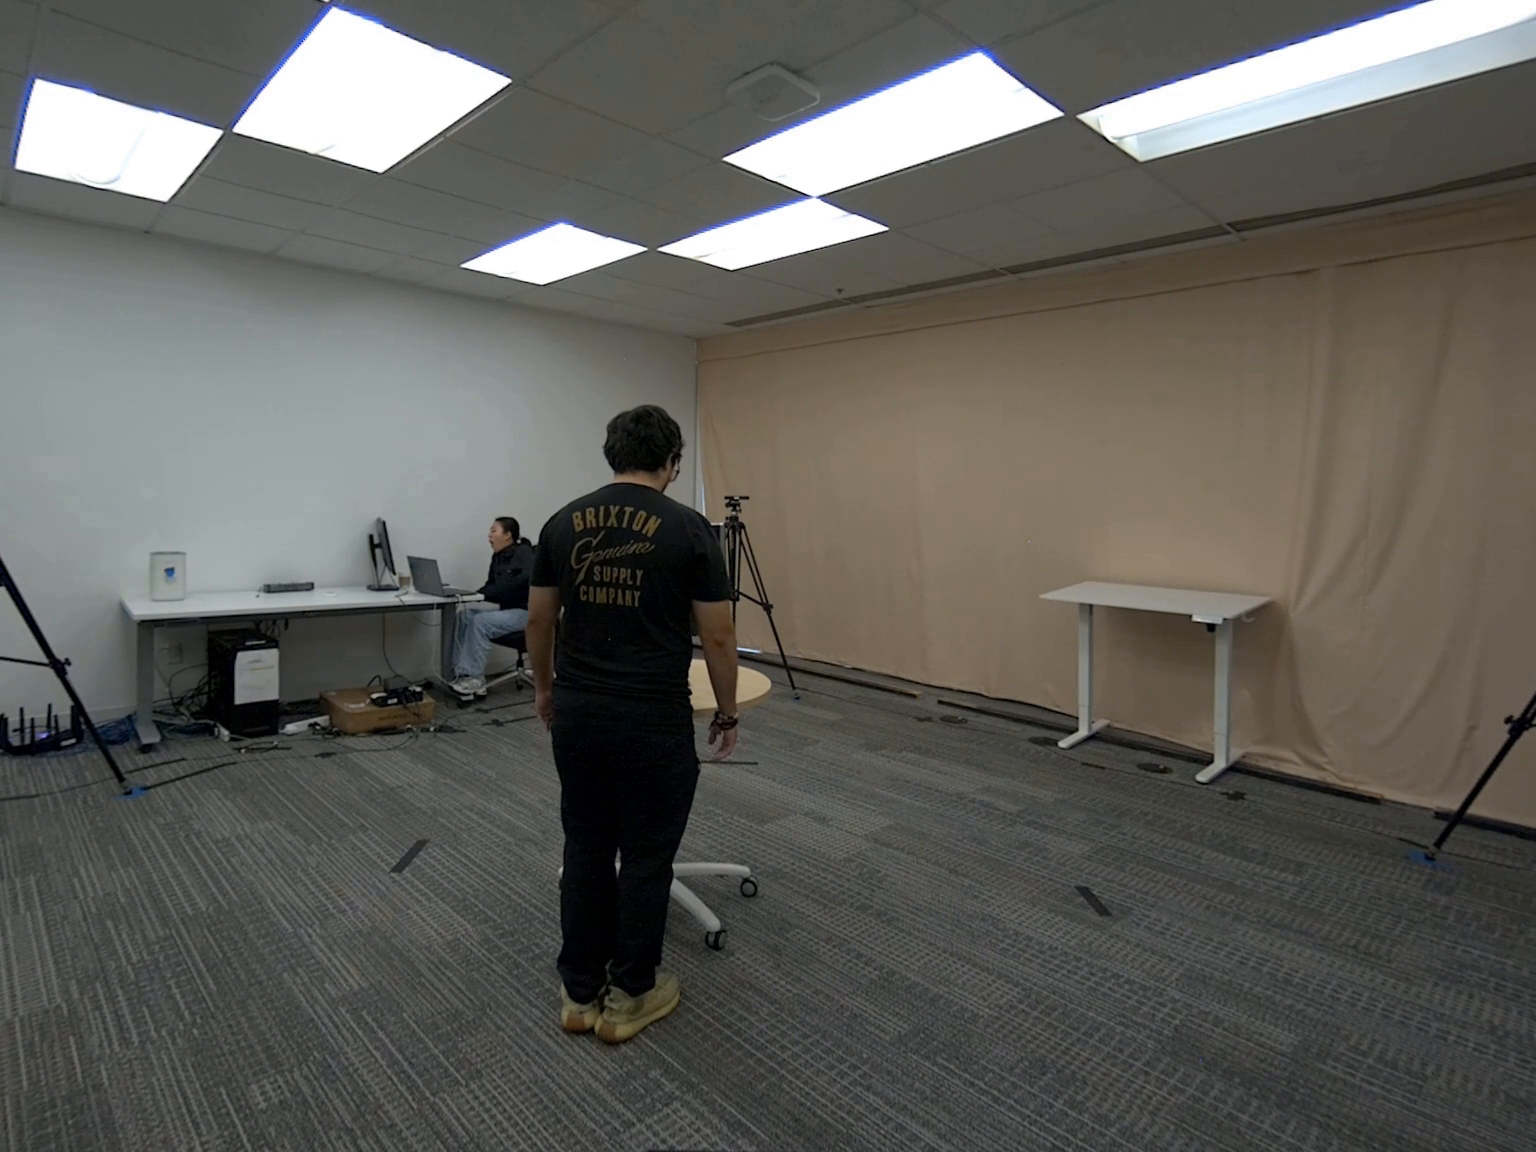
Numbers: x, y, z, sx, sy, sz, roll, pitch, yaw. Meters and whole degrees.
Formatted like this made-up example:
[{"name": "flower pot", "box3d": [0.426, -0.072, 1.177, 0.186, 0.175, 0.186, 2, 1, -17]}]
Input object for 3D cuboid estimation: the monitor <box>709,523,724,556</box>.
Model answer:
[{"name": "monitor", "box3d": [-0.415, 0.102, 2.683, 0.578, 0.552, 0.206, 4, 6, 31]}]
